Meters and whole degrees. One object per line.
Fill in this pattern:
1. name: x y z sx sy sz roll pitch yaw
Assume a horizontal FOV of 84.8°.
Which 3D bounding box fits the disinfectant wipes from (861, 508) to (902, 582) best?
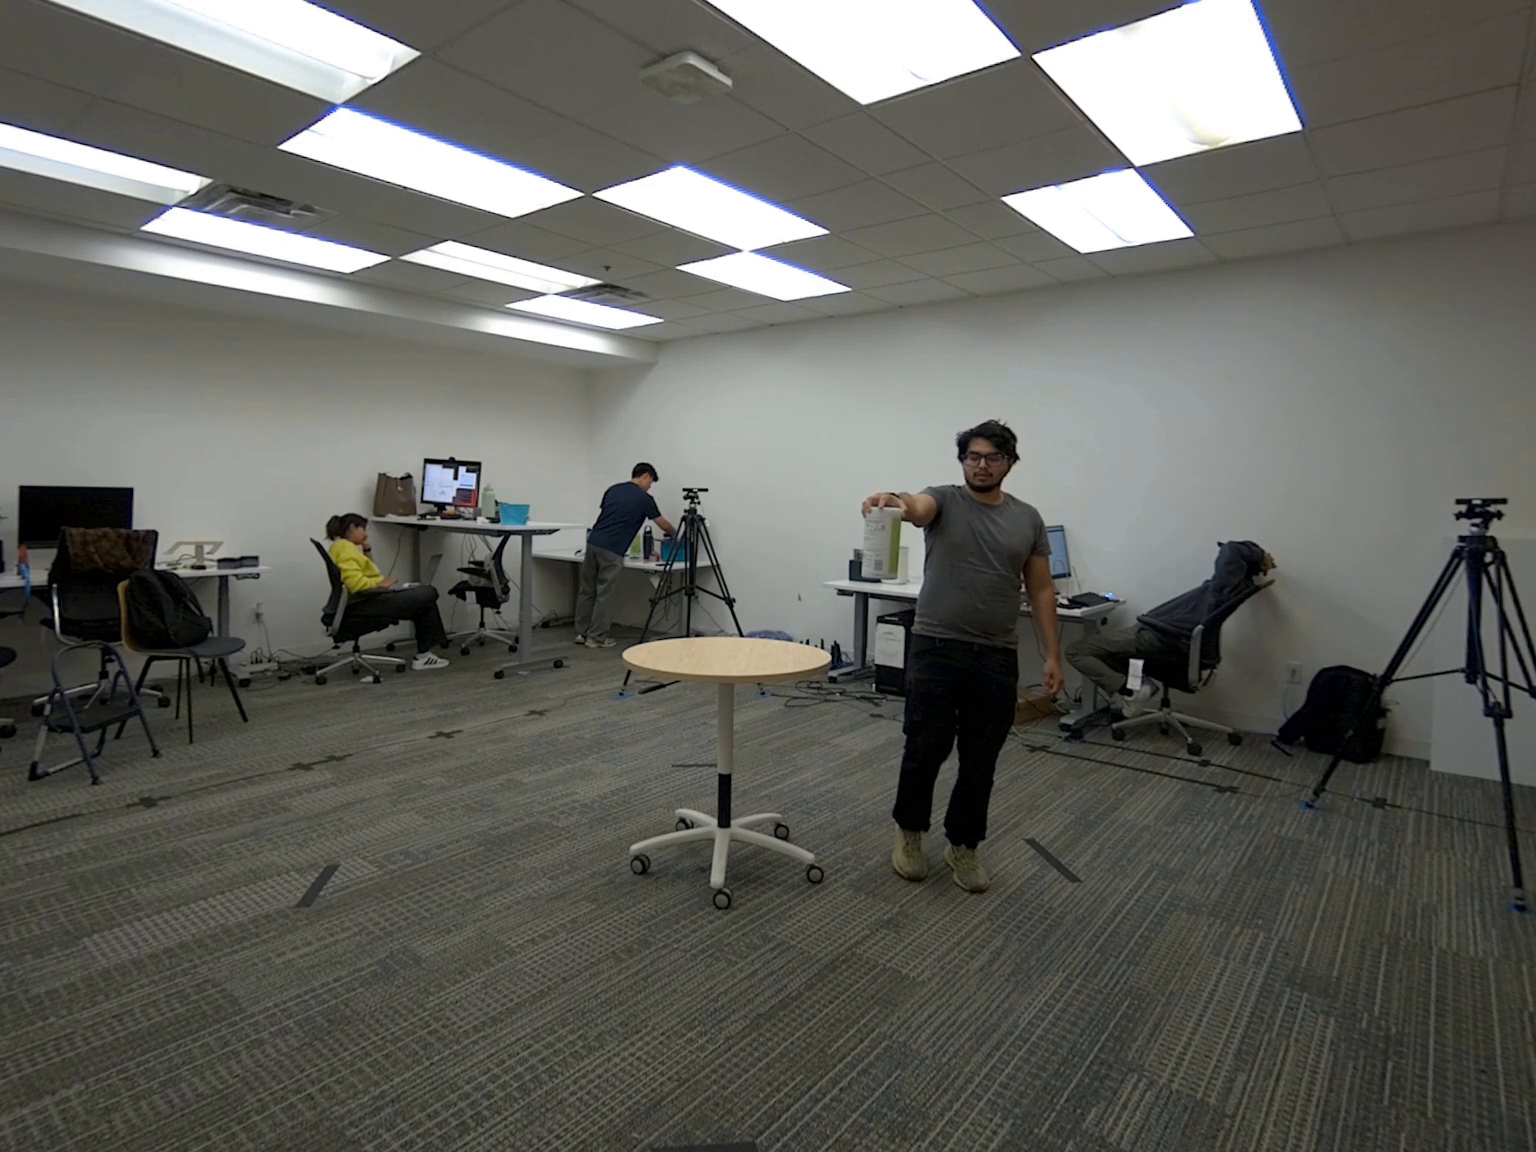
1. disinfectant wipes: 0.334 -0.102 2.572 0.117 0.217 0.118 4 2 -2
